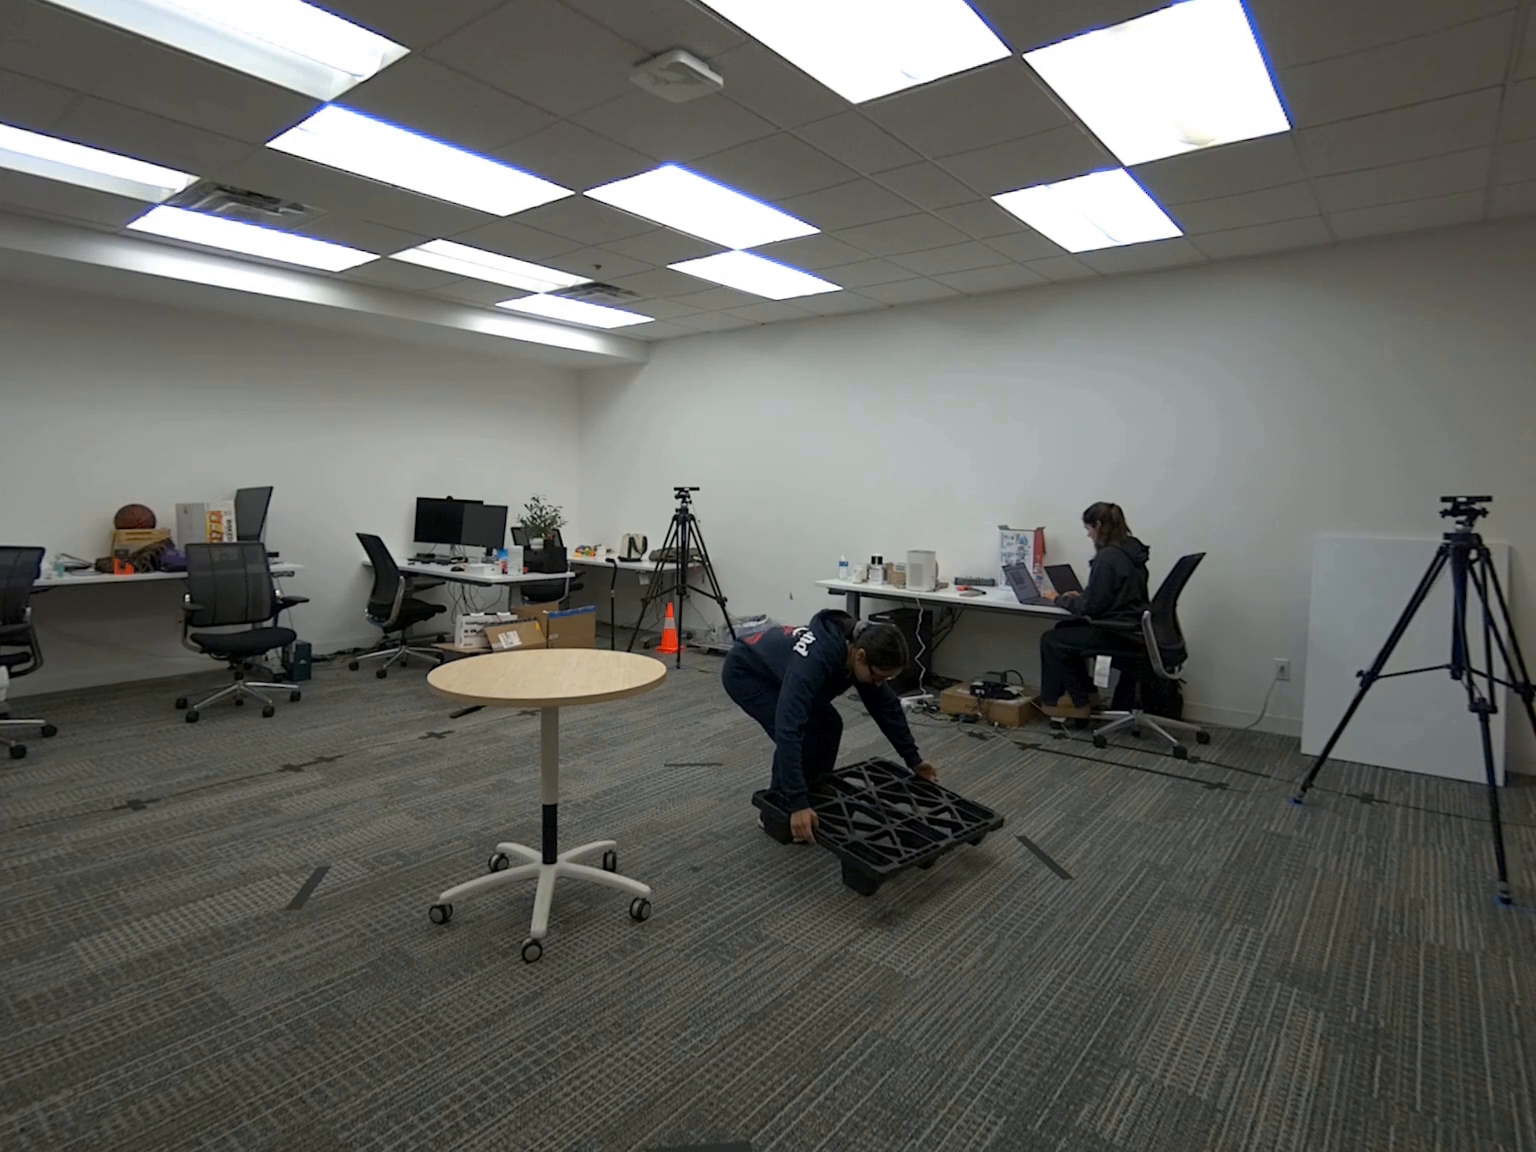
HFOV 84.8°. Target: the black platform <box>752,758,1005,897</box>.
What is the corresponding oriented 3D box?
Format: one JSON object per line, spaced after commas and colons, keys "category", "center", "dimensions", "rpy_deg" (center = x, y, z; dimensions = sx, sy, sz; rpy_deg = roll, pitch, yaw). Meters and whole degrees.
{"category": "black platform", "center": [0.401, 0.916, 3.179], "dimensions": [0.780, 0.142, 0.629], "rpy_deg": [-2, 15, -45]}
